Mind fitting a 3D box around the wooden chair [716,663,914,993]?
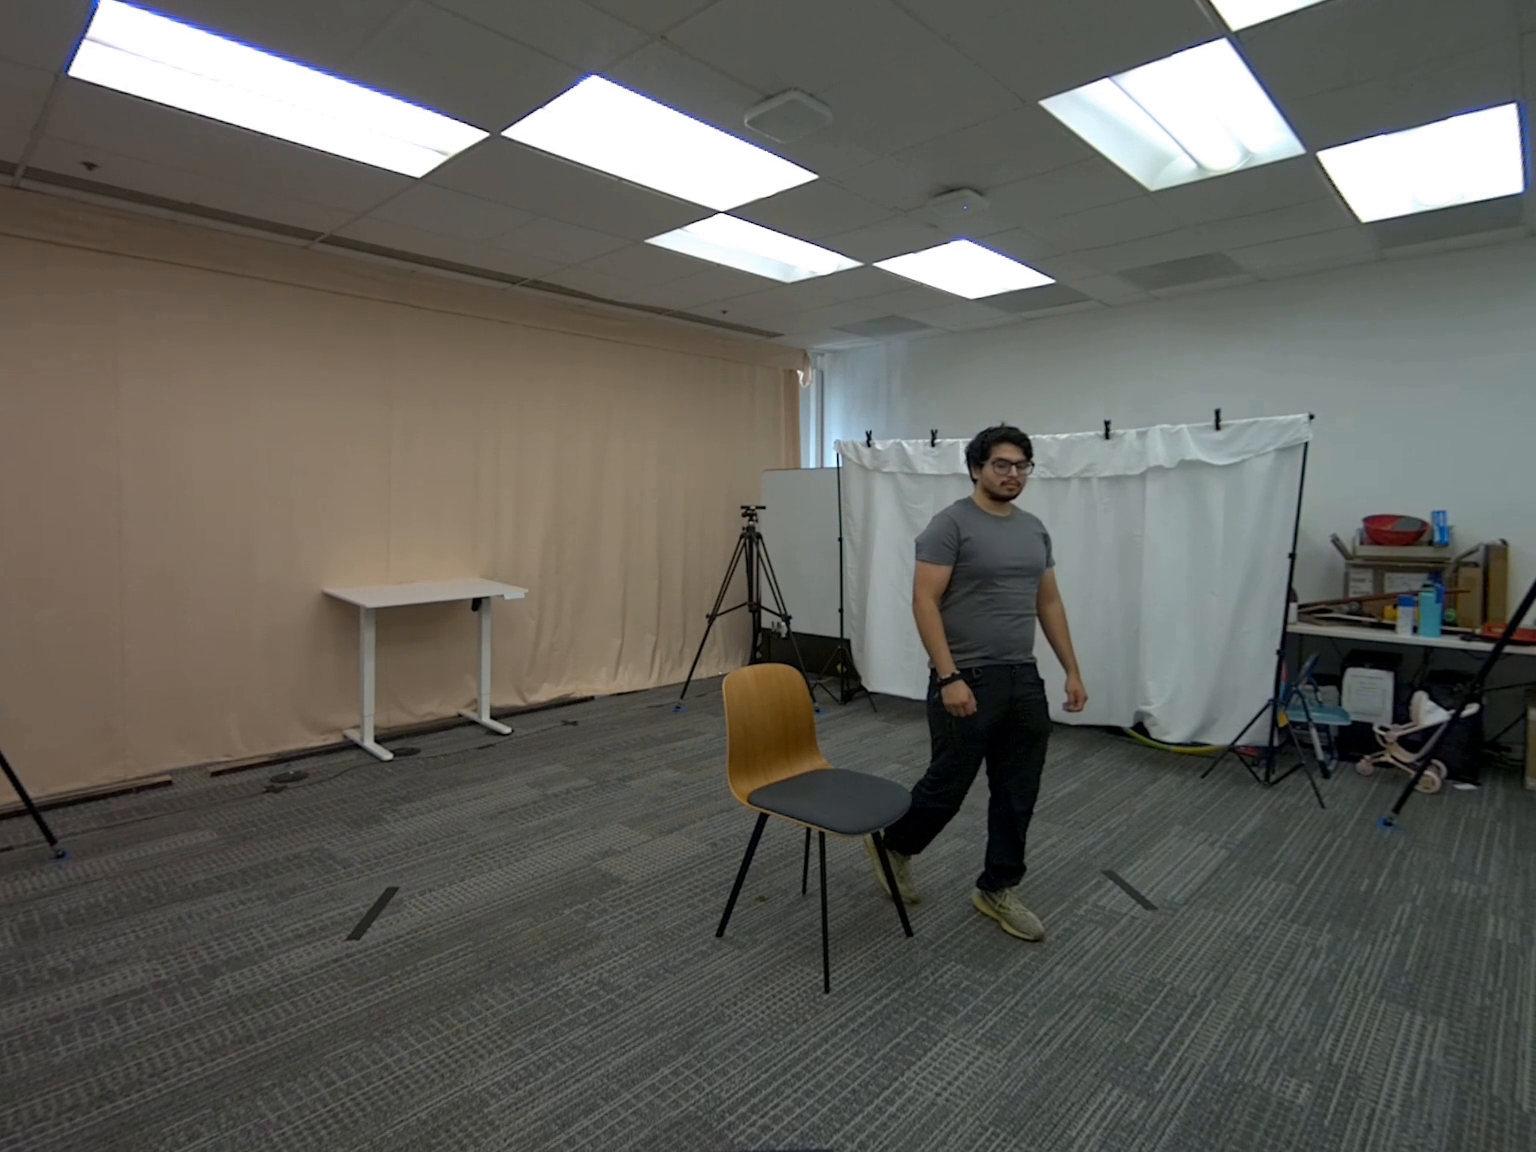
[{"bbox_3d":[0.159,0.744,2.681,0.539,0.877,0.463,-3,1,44],"label":"wooden chair"}]
